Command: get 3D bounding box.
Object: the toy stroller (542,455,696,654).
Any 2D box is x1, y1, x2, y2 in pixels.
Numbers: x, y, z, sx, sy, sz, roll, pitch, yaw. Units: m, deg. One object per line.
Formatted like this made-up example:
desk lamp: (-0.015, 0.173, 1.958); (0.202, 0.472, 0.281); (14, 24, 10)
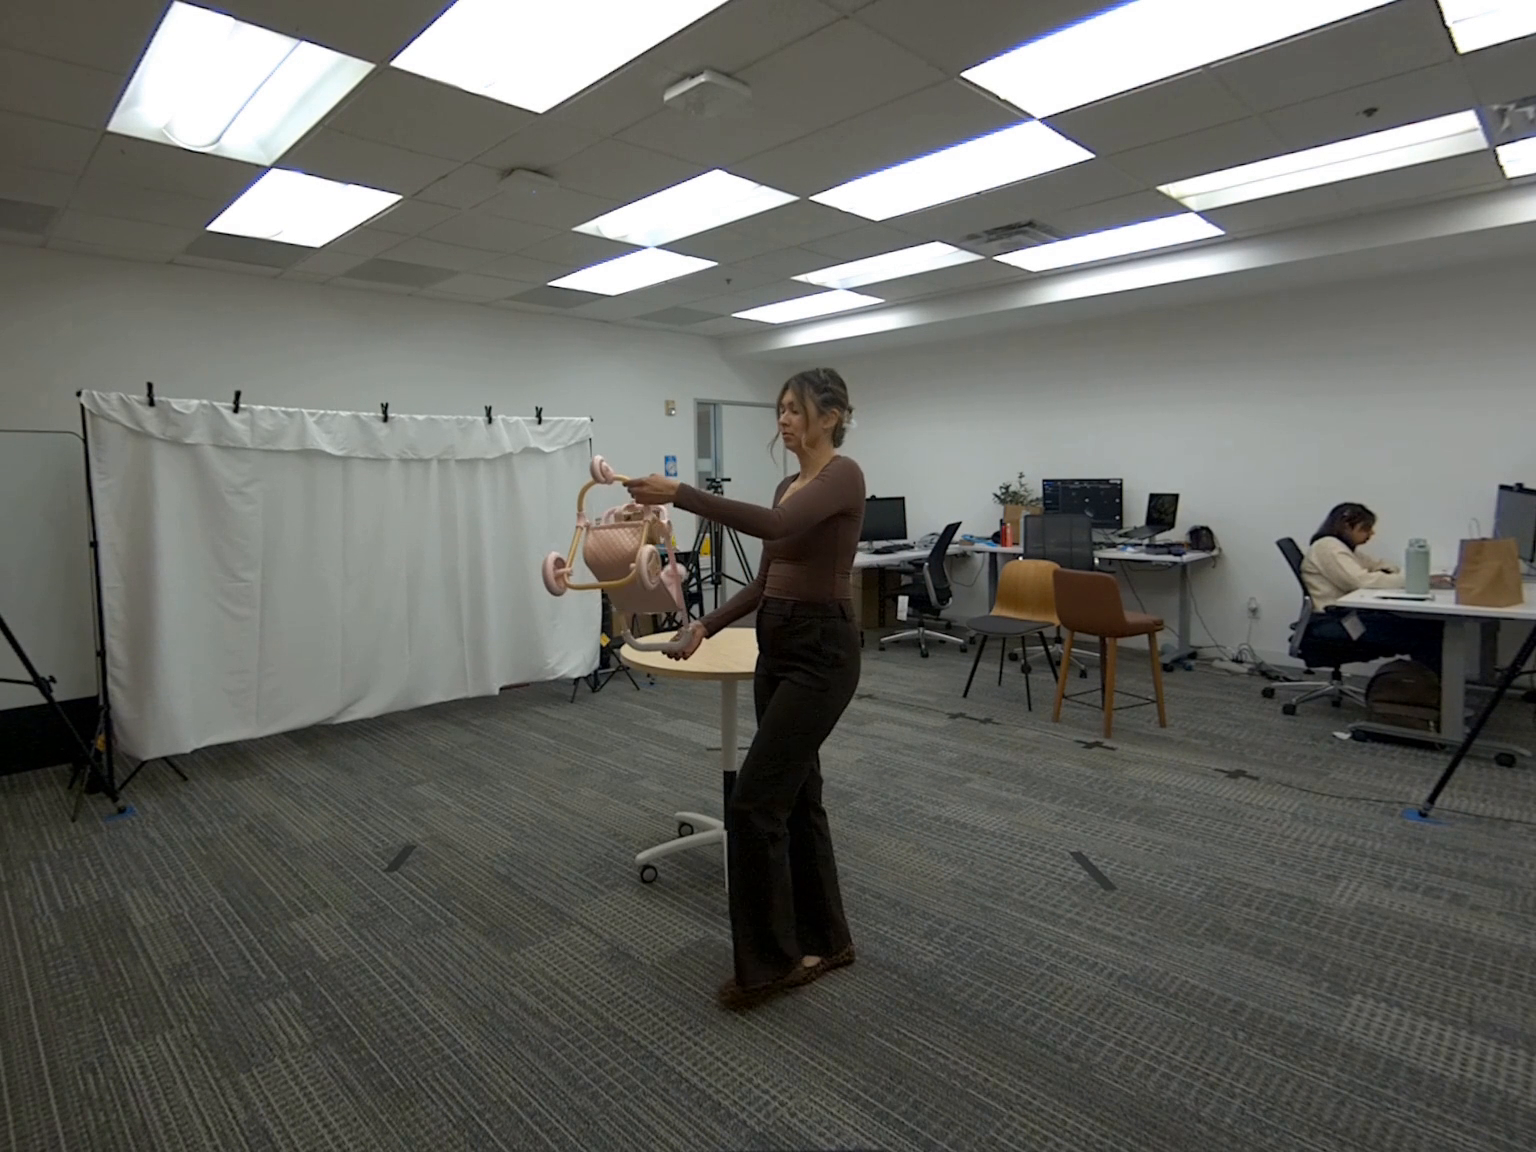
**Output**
toy stroller: (-0.357, -0.044, 2.244); (0.285, 0.349, 0.517); (-8, -28, 13)
